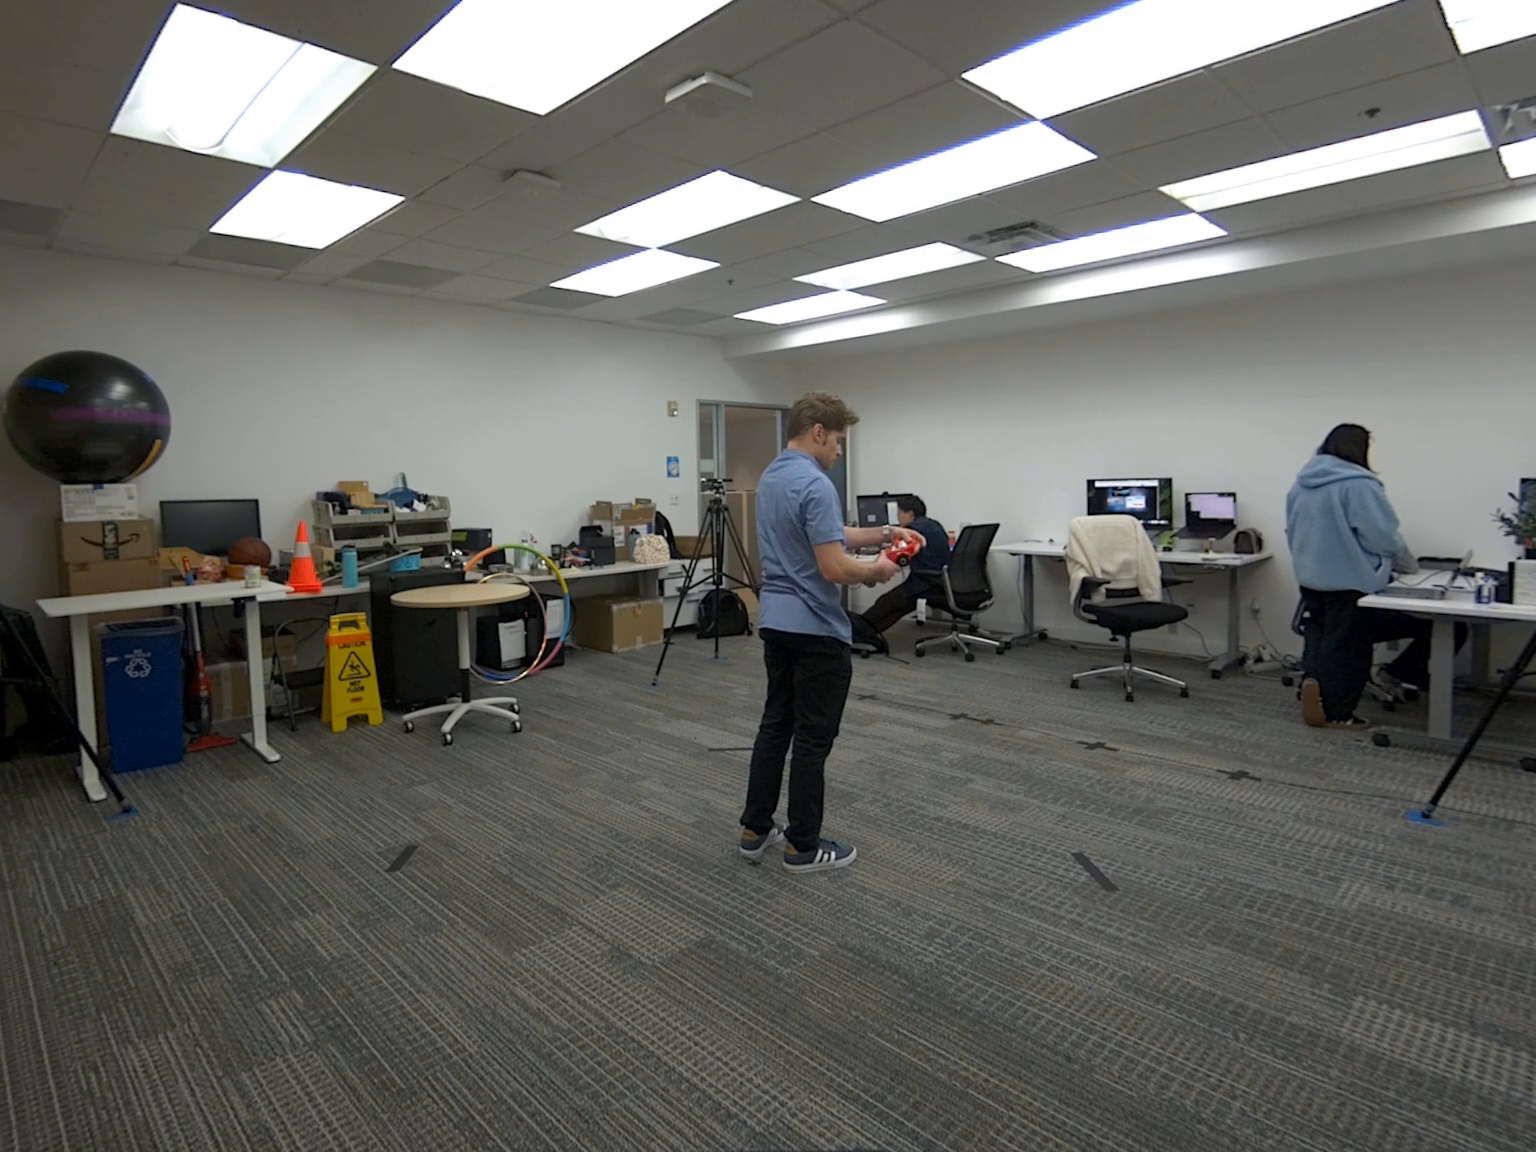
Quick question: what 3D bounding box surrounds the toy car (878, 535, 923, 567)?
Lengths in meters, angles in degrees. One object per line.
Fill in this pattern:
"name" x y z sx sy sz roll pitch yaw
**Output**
"toy car" 0.428 -0.049 3.153 0.255 0.082 0.131 -43 8 17
